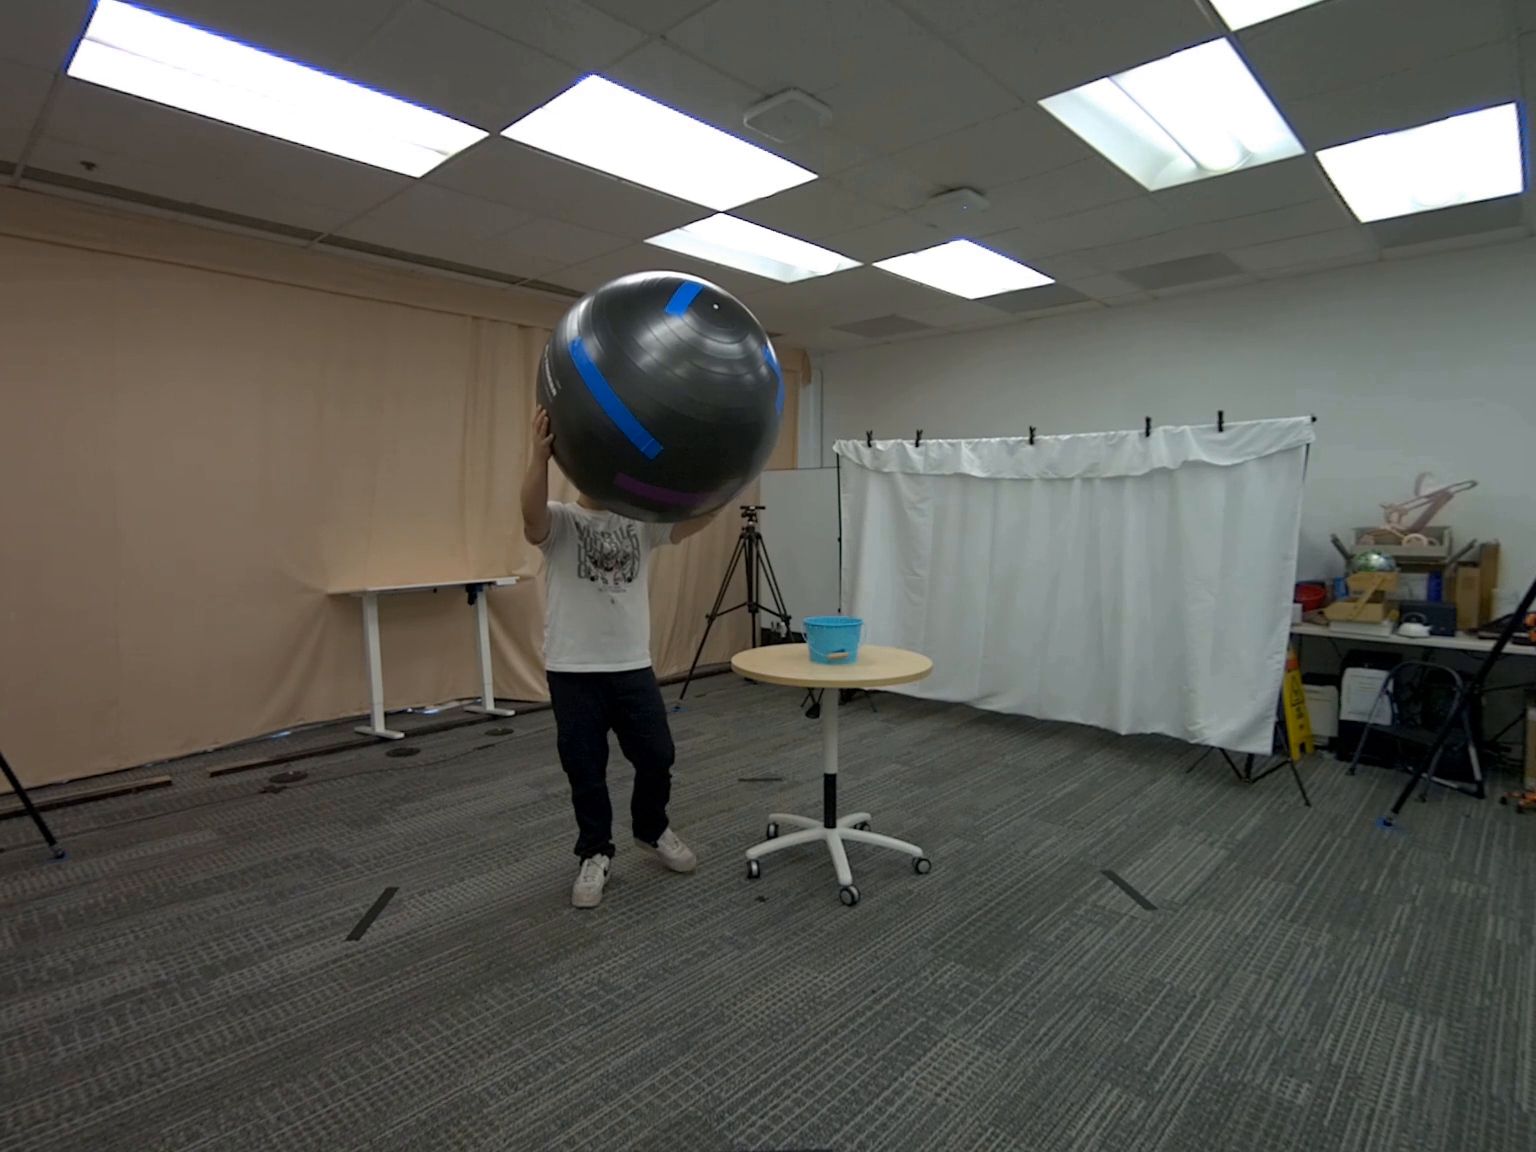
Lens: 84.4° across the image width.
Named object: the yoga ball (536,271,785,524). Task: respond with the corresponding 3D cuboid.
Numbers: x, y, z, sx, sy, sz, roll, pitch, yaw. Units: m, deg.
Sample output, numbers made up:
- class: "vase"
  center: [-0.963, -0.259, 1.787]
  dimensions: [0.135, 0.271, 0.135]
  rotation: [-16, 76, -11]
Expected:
- class: "yoga ball"
  center: [-0.325, -0.539, 2.597]
  dimensions: [0.757, 0.756, 0.760]
  rotation: [0, 4, -2]
